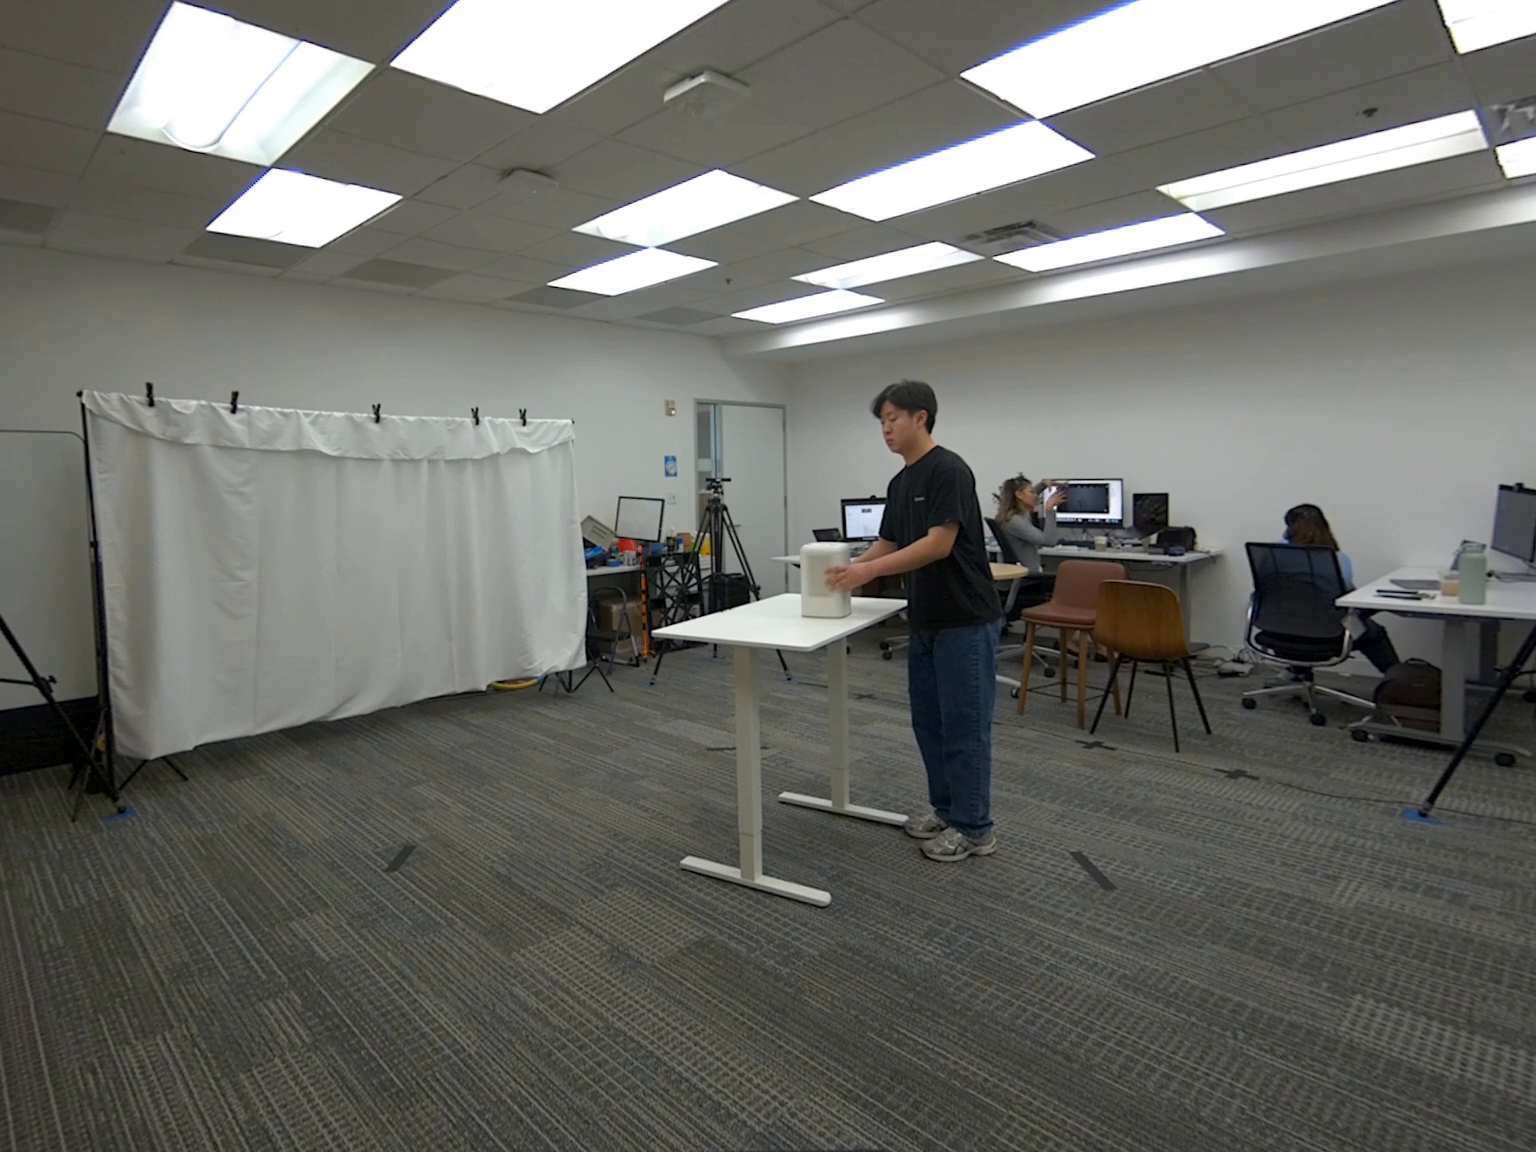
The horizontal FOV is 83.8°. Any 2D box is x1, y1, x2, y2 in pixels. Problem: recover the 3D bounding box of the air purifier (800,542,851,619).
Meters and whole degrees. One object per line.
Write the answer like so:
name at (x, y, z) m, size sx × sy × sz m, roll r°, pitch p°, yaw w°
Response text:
air purifier at (0.224, 0.011, 3.171) m, size 0.175 × 0.265 × 0.168 m, roll -2°, pitch 3°, yaw 22°
